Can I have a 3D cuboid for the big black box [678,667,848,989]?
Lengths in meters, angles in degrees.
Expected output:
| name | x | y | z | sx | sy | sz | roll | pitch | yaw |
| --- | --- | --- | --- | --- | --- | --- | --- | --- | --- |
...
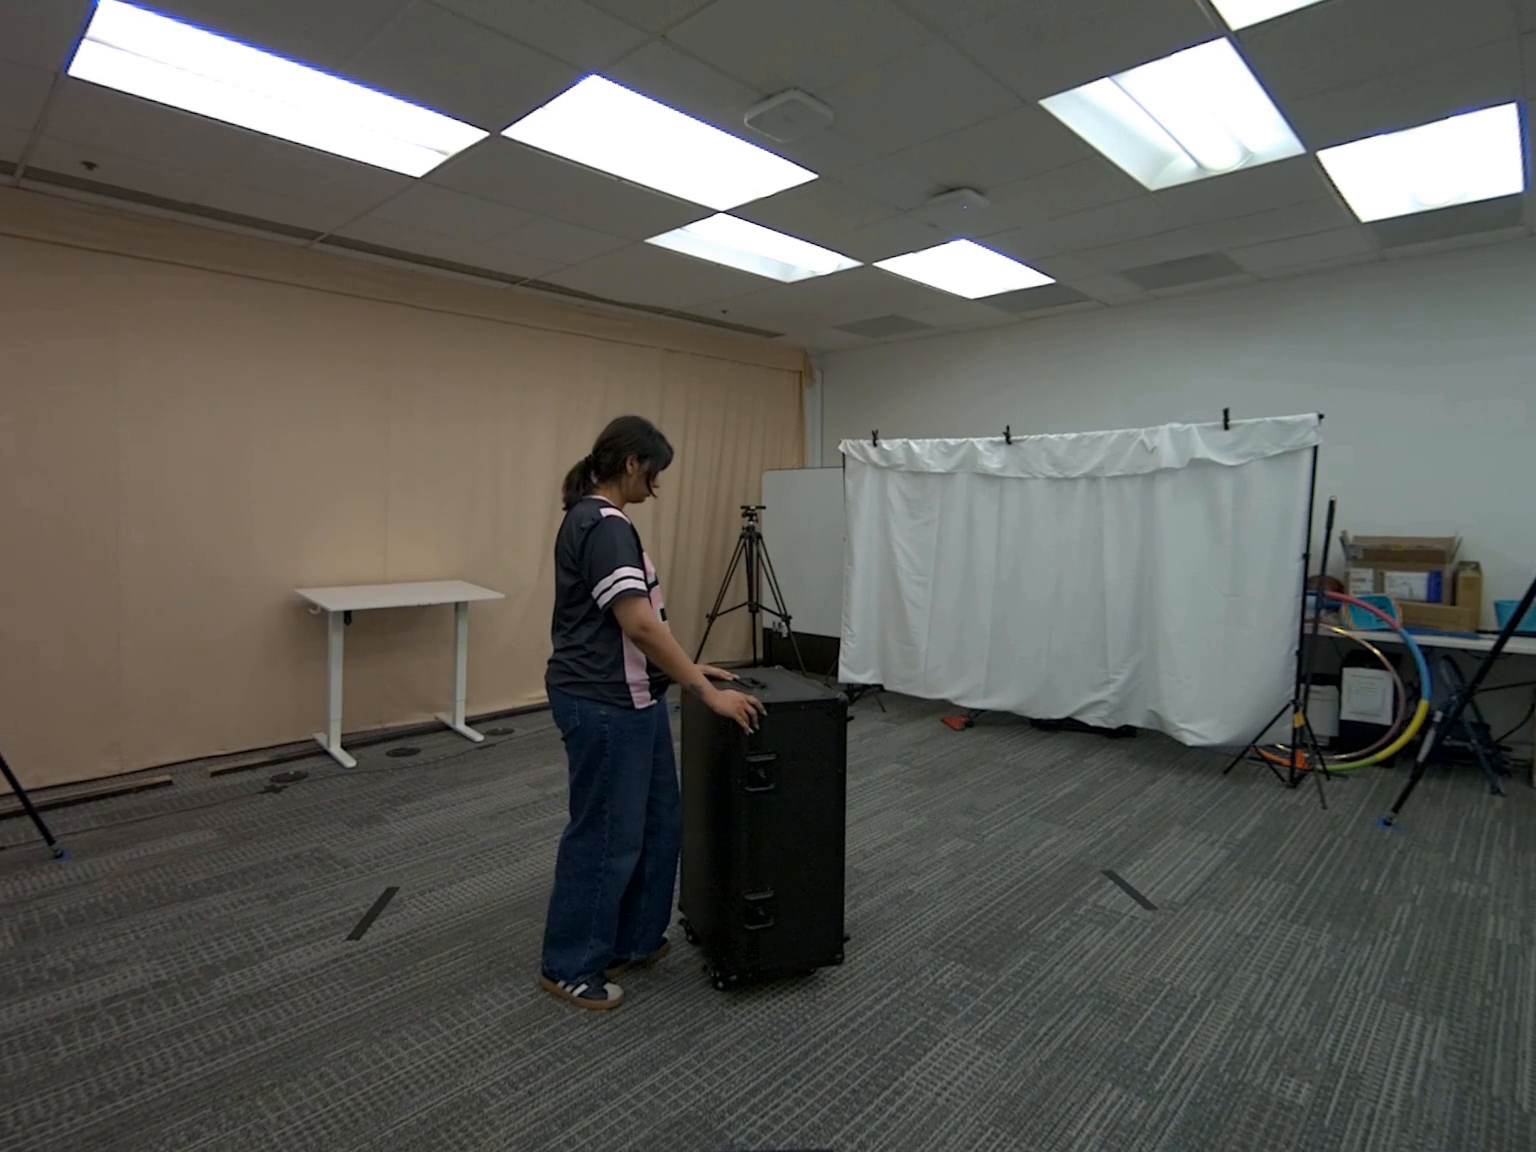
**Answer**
| name | x | y | z | sx | sy | sz | roll | pitch | yaw |
| --- | --- | --- | --- | --- | --- | --- | --- | --- | --- |
| big black box | -0.027 | 0.755 | 2.583 | 0.377 | 0.867 | 0.536 | 0 | 3 | -22 |
